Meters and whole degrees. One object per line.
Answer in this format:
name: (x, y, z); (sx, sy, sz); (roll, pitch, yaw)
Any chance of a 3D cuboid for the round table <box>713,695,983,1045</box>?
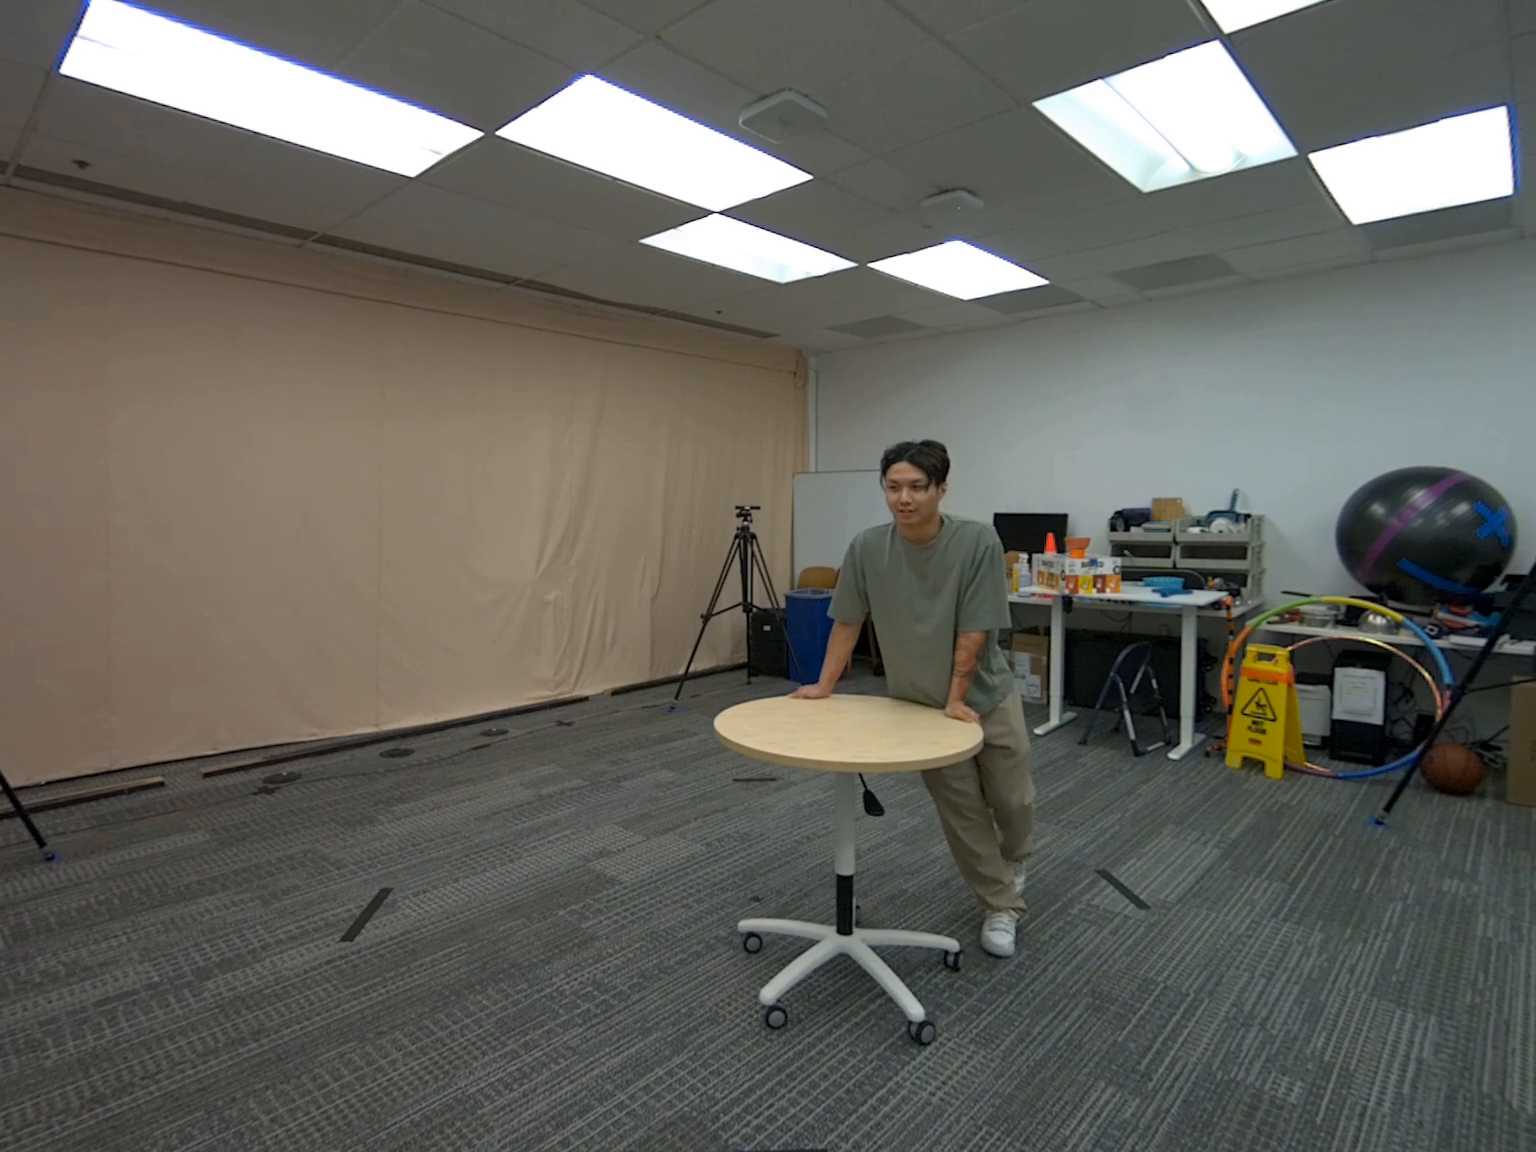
round table: (0.223, 0.804, 2.481); (0.784, 0.785, 0.788); (0, 4, -2)
